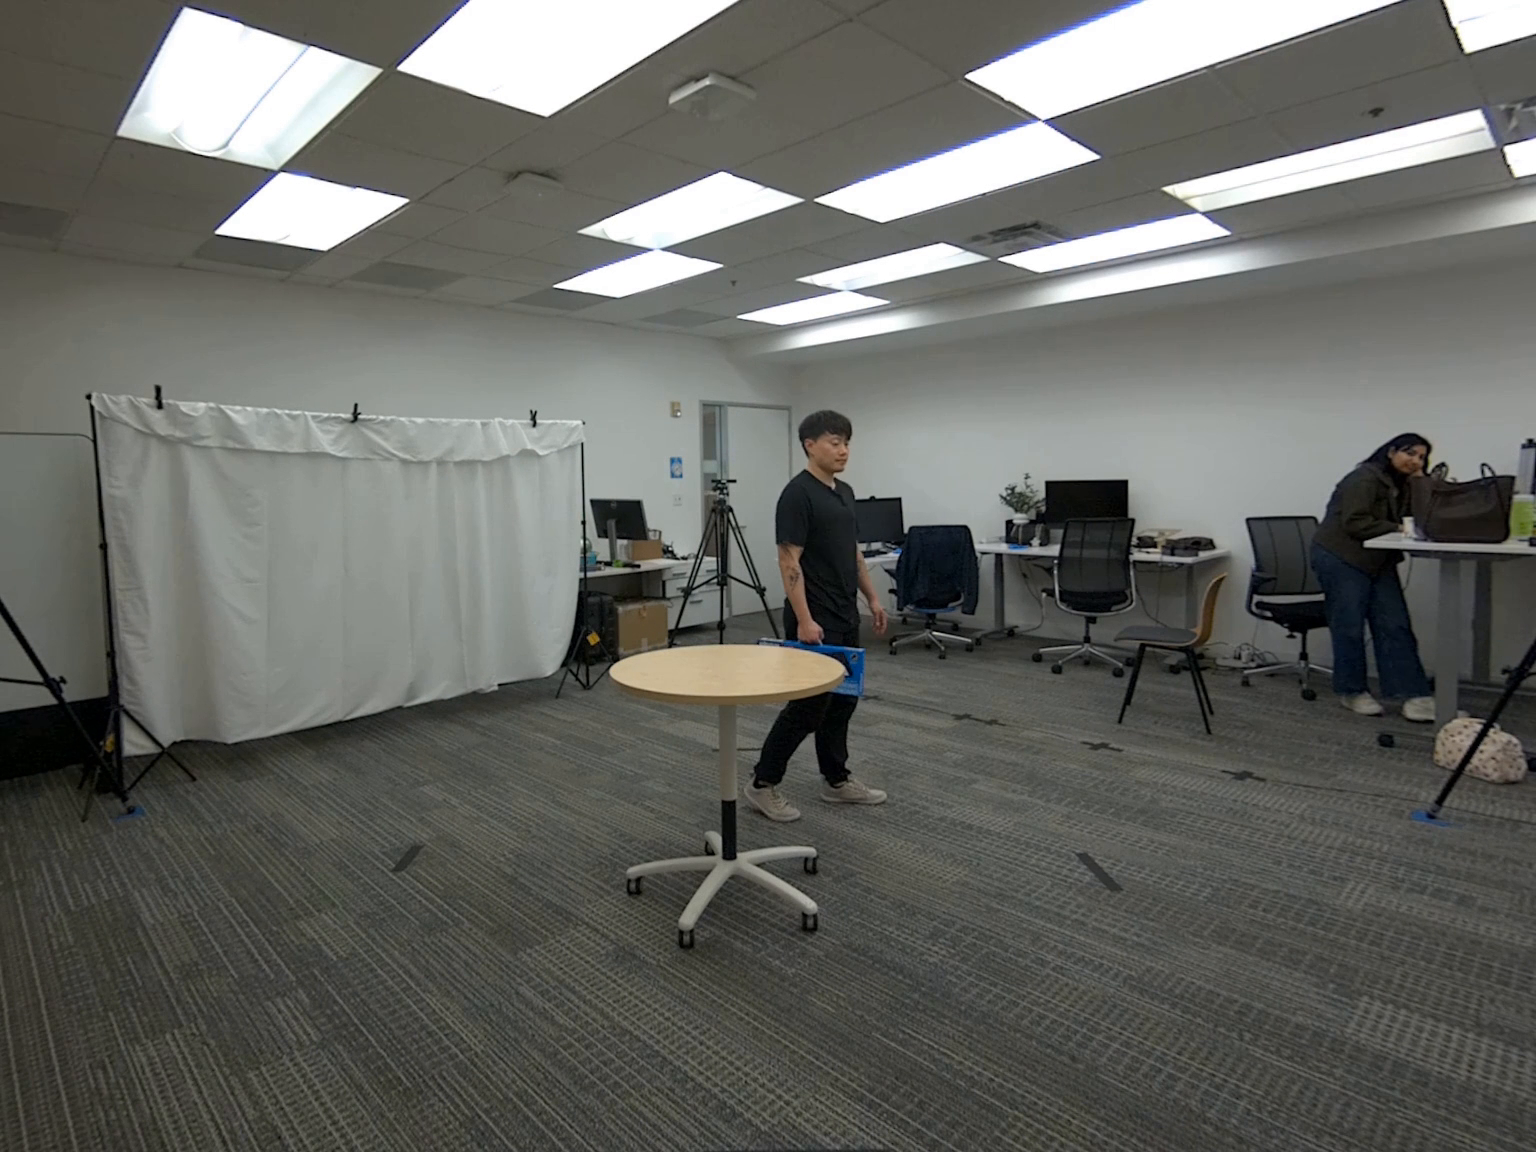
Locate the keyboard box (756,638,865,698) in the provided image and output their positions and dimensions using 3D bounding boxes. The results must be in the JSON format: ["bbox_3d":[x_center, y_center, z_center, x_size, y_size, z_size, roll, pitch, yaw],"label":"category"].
[{"bbox_3d":[0.160,0.358,3.370,0.448,0.175,0.058,5,3,27],"label":"keyboard box"}]
